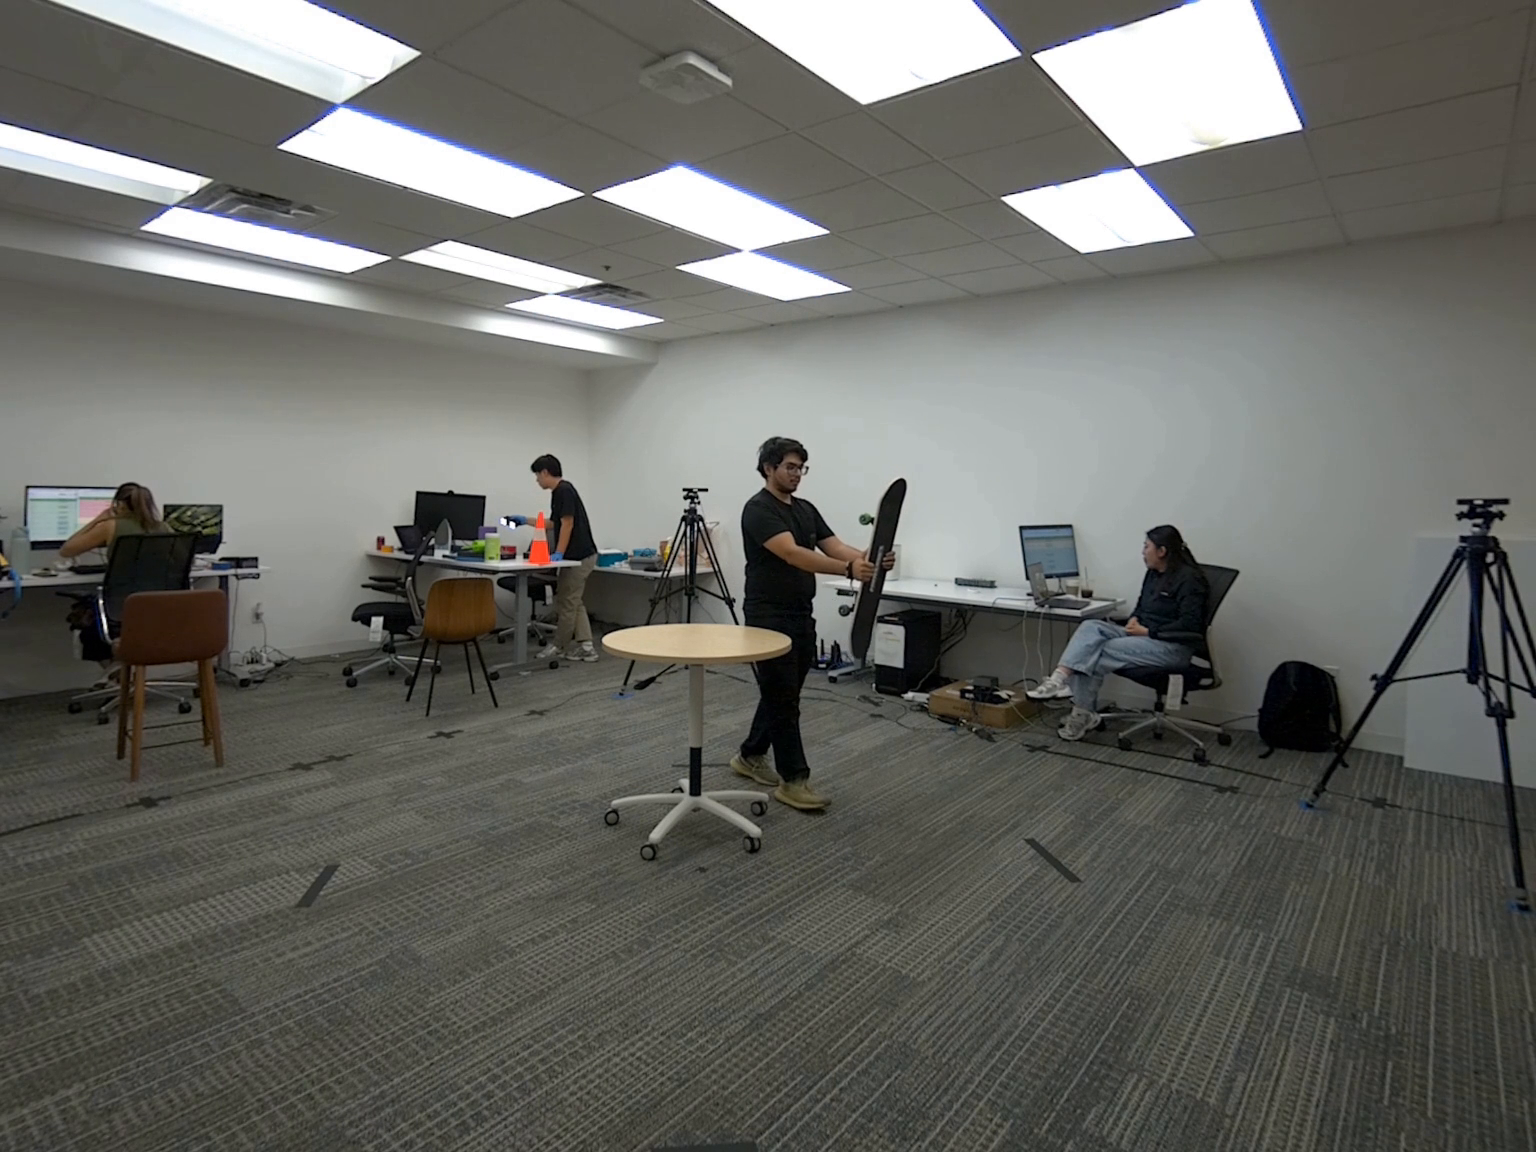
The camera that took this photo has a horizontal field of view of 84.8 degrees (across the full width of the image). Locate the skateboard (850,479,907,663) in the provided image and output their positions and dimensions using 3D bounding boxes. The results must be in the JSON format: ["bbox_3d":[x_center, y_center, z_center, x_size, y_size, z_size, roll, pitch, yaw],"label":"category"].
[{"bbox_3d":[0.426,-0.045,3.595,0.114,0.780,0.187,17,10,35],"label":"skateboard"}]
